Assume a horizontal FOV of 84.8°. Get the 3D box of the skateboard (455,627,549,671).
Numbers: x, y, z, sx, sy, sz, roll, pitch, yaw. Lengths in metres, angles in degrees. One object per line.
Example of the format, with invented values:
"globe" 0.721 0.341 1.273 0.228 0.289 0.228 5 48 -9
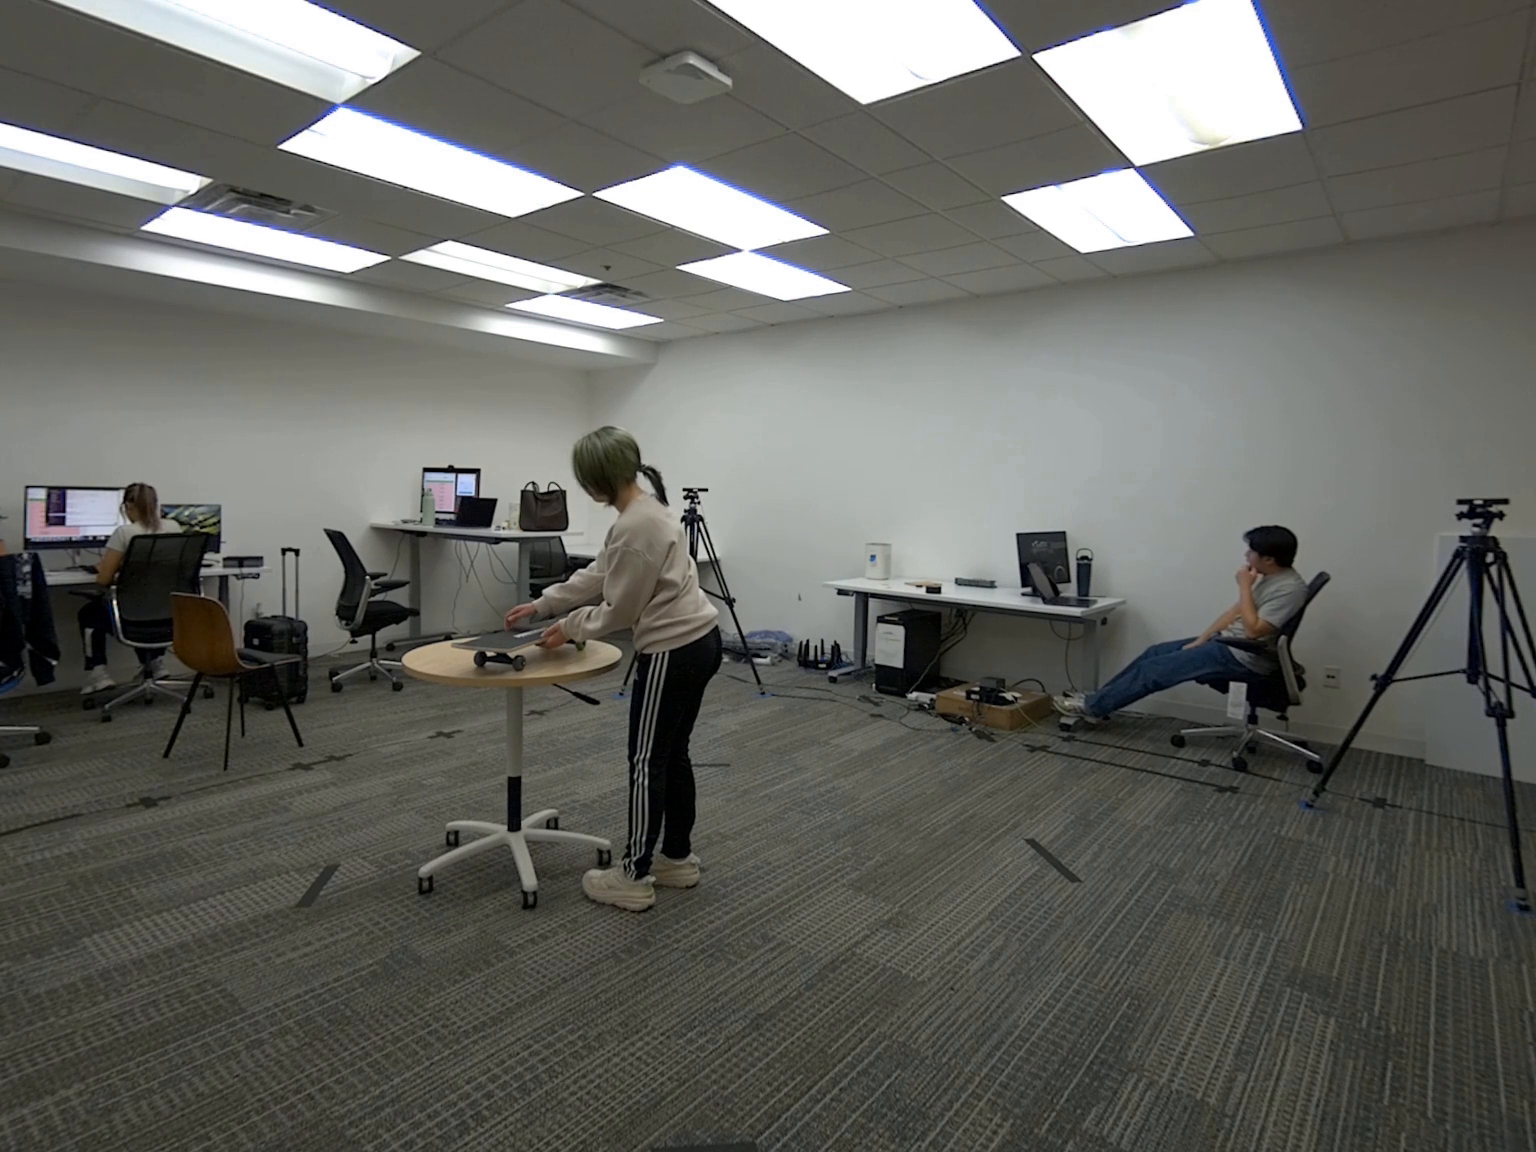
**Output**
"skateboard" -0.847 0.233 3.012 0.197 0.110 0.772 3 6 18
